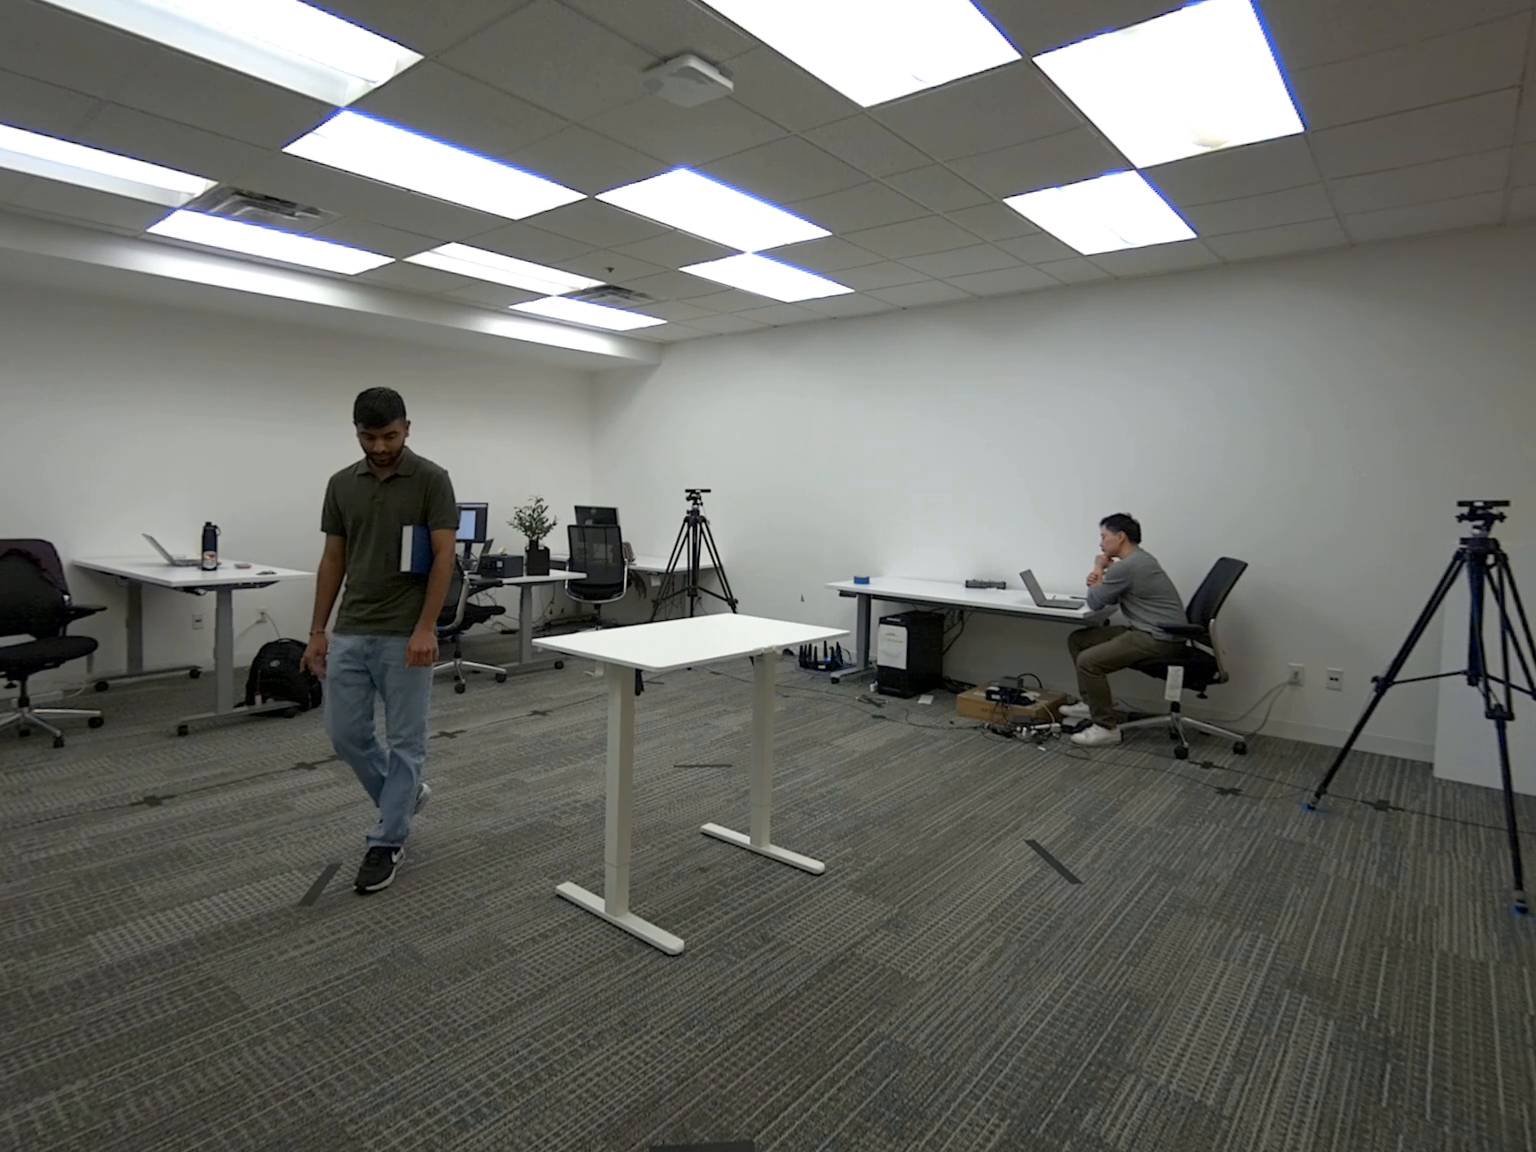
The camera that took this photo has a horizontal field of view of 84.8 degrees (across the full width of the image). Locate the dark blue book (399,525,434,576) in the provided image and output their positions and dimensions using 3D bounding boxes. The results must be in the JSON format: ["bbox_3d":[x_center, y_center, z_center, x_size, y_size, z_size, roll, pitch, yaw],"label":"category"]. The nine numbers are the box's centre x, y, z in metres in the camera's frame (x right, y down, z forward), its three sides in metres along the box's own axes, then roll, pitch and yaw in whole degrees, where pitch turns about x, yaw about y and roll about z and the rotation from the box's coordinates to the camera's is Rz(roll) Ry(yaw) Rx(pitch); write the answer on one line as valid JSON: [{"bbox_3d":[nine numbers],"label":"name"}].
[{"bbox_3d":[-1.231,-0.086,3.024,0.046,0.164,0.241,-1,-2,11],"label":"dark blue book"}]
